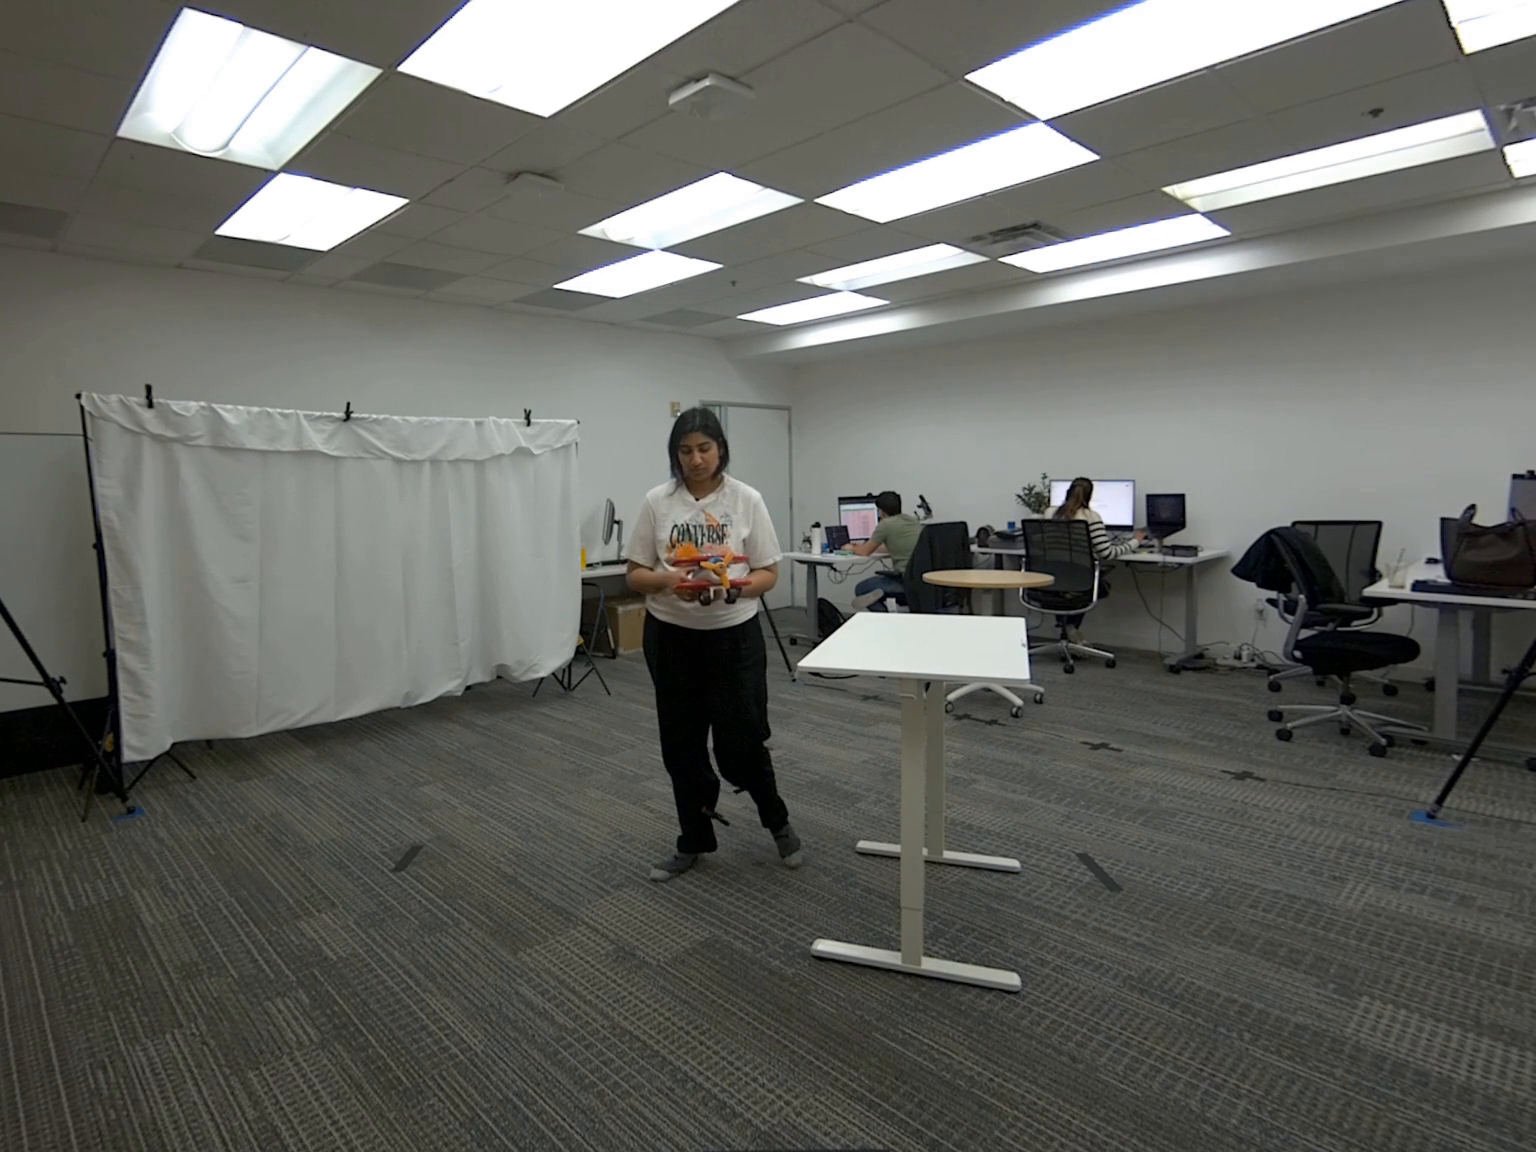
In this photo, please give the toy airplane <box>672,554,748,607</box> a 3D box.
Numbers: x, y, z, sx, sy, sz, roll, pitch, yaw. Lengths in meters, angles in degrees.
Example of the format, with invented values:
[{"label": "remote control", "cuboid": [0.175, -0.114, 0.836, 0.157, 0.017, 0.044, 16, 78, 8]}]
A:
[{"label": "toy airplane", "cuboid": [-0.204, 0.015, 2.727, 0.267, 0.156, 0.244, 0, 4, 40]}]
